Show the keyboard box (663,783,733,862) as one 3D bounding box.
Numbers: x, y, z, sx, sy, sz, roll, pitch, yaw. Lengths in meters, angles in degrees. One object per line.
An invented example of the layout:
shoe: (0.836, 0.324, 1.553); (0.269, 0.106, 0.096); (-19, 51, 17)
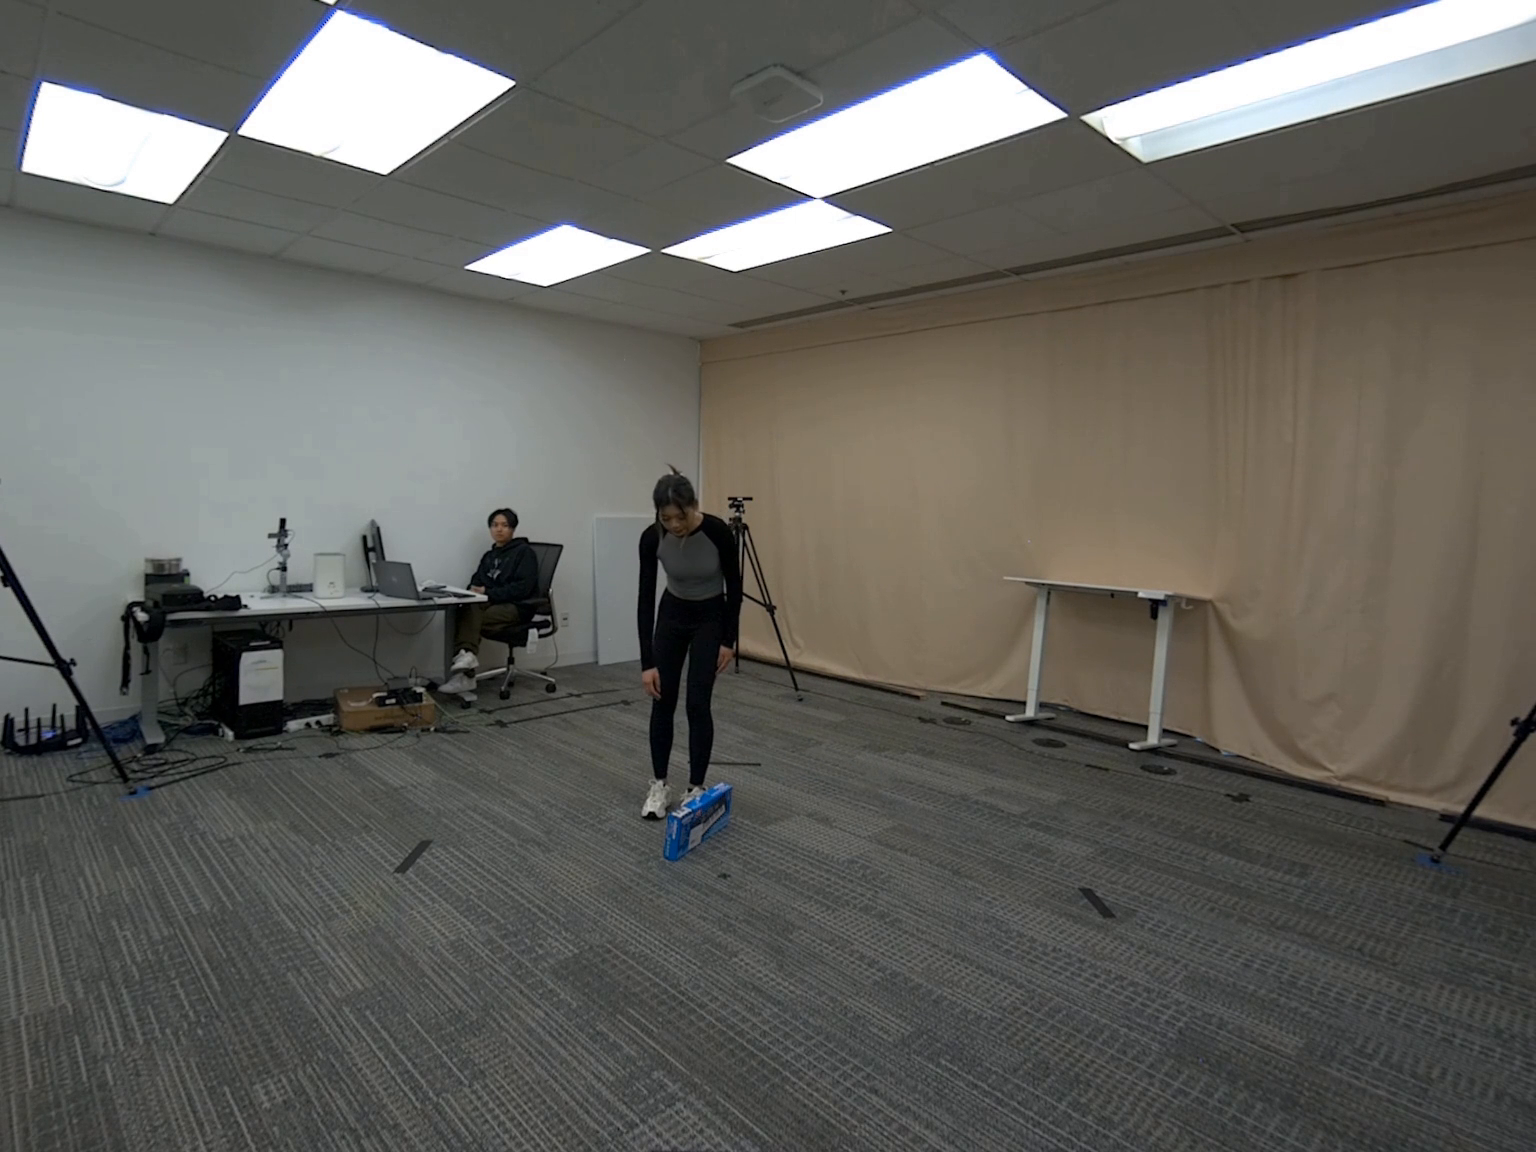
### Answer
keyboard box: (-0.287, 0.989, 3.413); (0.060, 0.175, 0.429); (10, 7, 24)
